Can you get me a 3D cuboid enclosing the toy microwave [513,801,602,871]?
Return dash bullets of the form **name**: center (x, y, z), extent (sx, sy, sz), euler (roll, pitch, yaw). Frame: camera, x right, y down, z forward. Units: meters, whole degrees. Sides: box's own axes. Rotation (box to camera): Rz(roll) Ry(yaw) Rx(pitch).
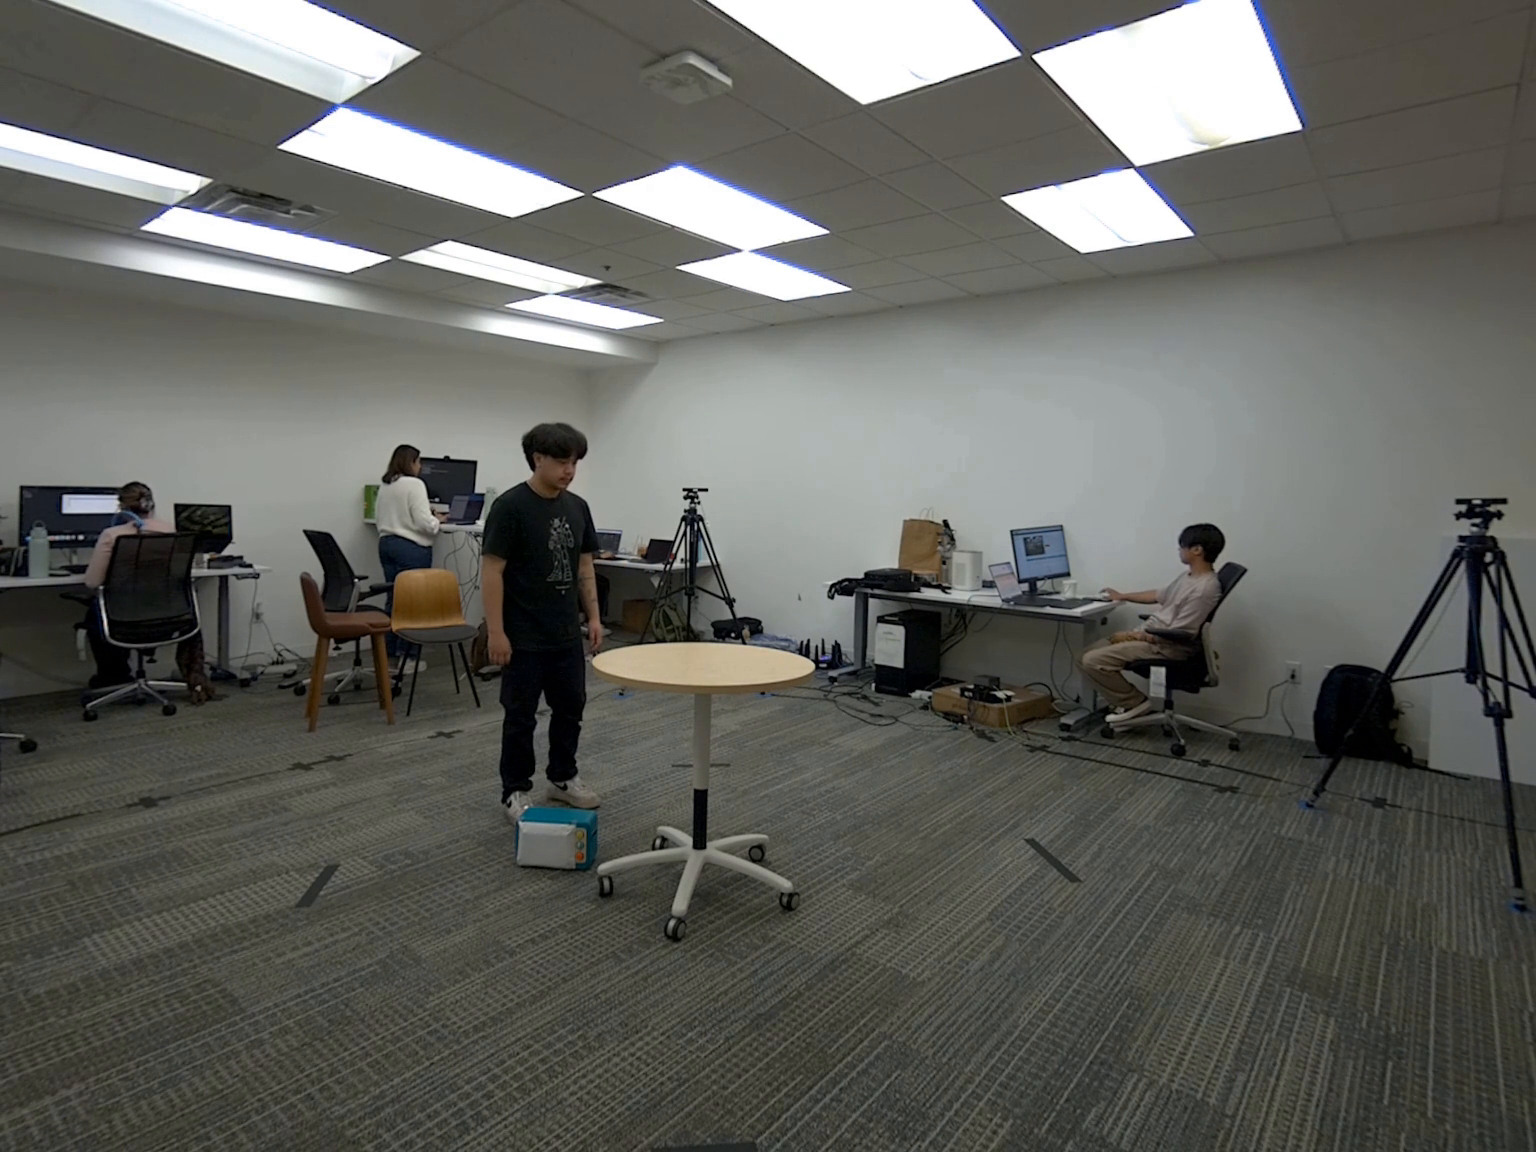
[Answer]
- **toy microwave**: center (-0.782, 0.962, 3.125), extent (0.288, 0.184, 0.152), euler (1, 2, 5)
